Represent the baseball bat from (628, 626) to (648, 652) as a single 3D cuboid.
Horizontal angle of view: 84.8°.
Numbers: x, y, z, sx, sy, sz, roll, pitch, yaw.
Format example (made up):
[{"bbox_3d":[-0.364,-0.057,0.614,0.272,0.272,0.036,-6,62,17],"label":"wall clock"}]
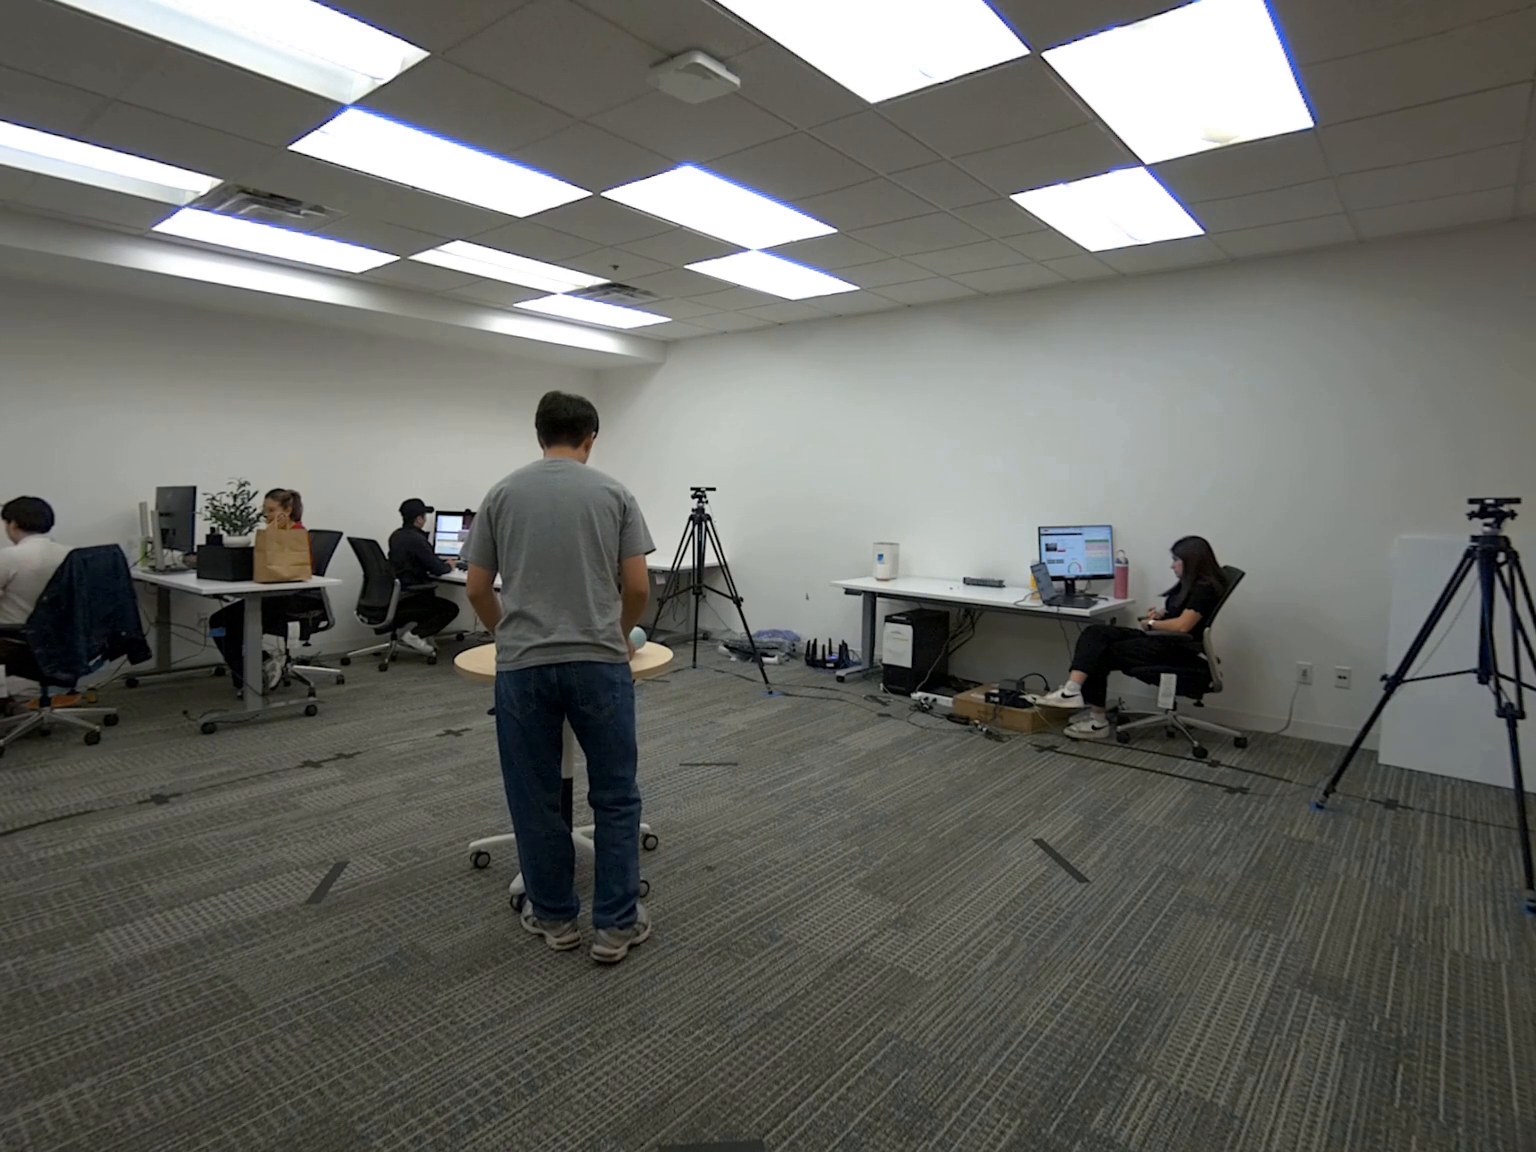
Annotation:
[{"bbox_3d":[-0.601,0.265,2.857,0.091,0.088,0.533,3,10,26],"label":"baseball bat"}]
